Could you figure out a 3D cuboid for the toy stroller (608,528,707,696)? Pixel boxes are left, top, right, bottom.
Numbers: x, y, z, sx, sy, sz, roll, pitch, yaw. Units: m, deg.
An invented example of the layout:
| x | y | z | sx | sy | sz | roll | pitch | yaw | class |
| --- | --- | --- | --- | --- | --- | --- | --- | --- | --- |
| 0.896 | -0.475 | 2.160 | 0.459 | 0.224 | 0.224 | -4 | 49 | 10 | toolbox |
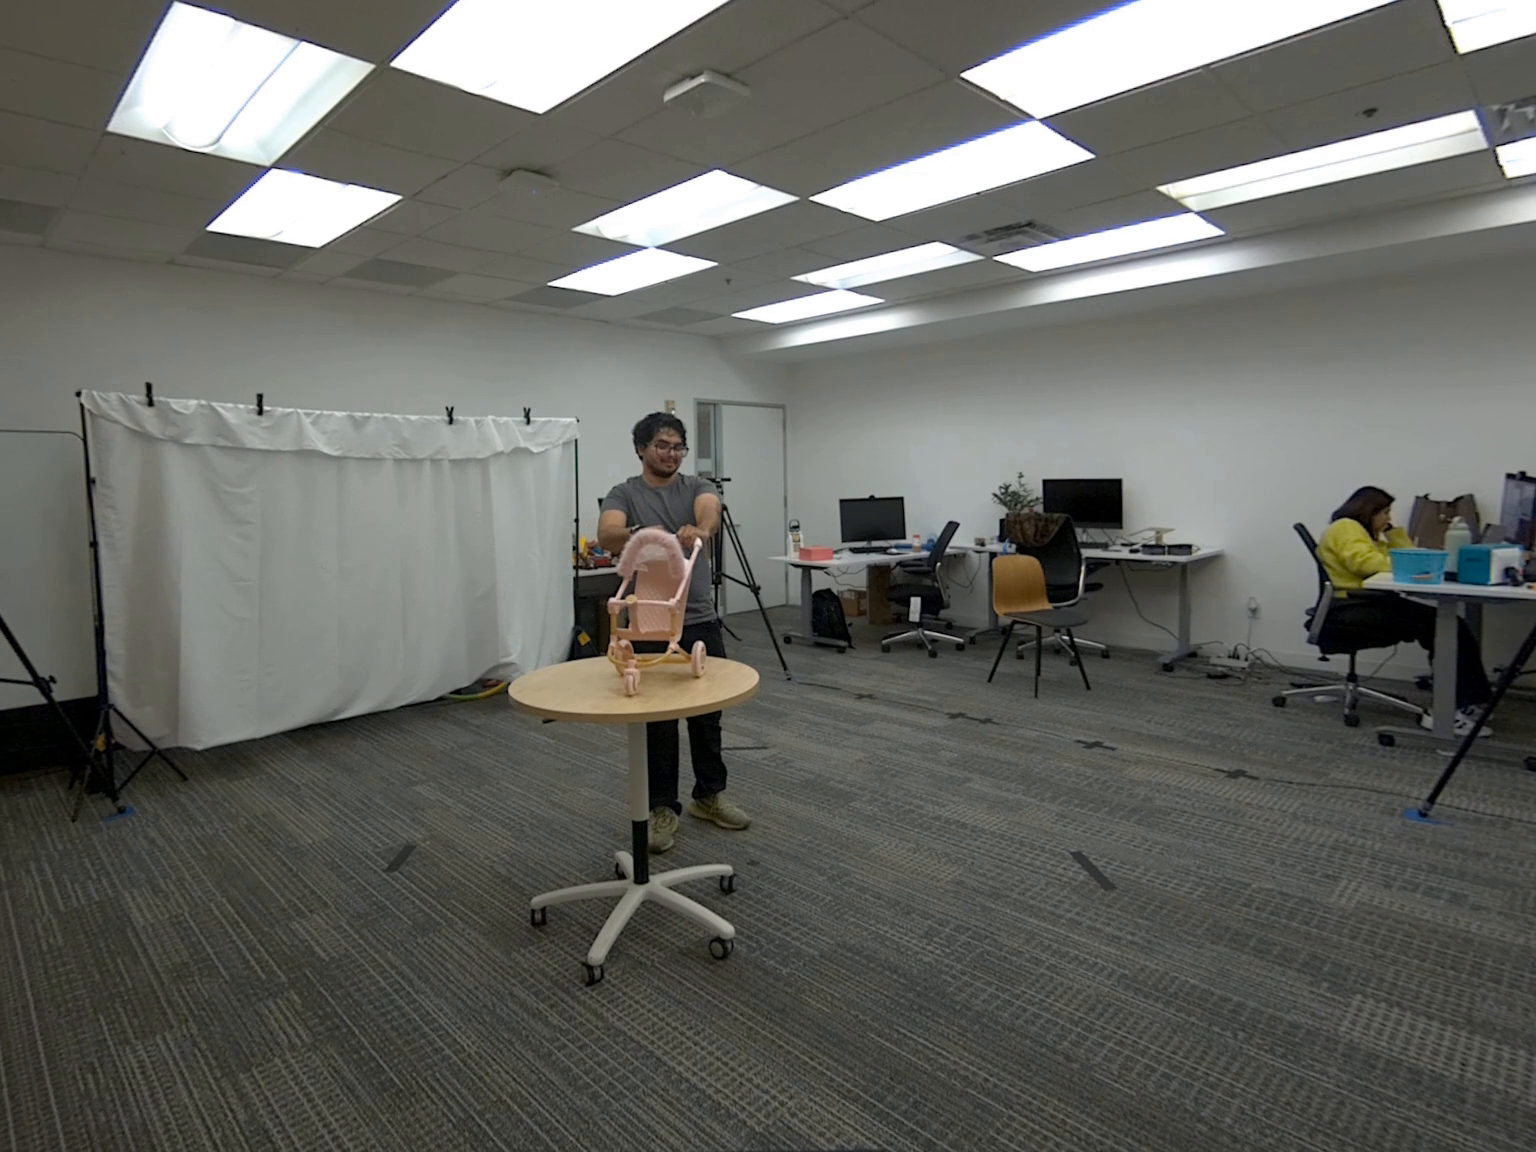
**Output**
| x | y | z | sx | sy | sz | roll | pitch | yaw | class |
| --- | --- | --- | --- | --- | --- | --- | --- | --- | --- |
| -0.360 | 0.101 | 2.609 | 0.286 | 0.540 | 0.333 | 0 | -10 | 17 | toy stroller |
